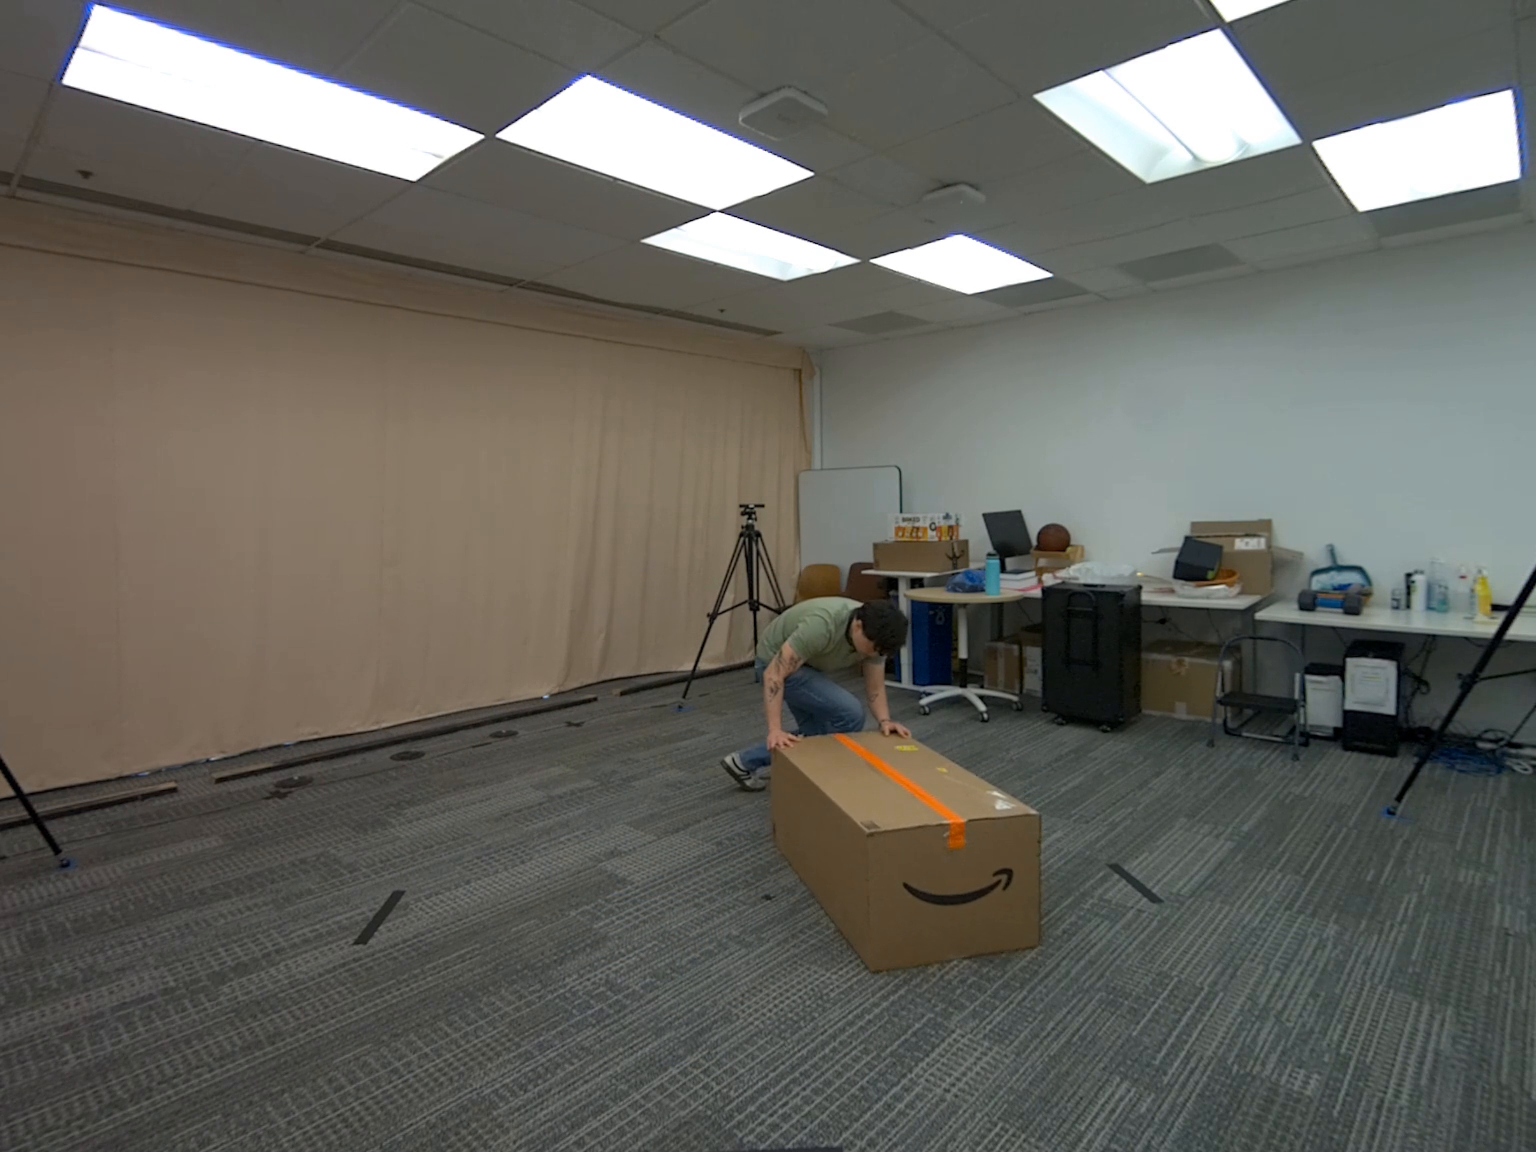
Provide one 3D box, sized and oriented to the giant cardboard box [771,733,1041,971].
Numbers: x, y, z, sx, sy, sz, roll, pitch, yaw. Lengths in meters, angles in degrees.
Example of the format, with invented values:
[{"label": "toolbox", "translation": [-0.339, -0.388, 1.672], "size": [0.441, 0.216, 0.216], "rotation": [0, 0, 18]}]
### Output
[{"label": "giant cardboard box", "translation": [0.431, 0.910, 3.035], "size": [0.569, 0.425, 1.044], "rotation": [-1, 4, -15]}]
